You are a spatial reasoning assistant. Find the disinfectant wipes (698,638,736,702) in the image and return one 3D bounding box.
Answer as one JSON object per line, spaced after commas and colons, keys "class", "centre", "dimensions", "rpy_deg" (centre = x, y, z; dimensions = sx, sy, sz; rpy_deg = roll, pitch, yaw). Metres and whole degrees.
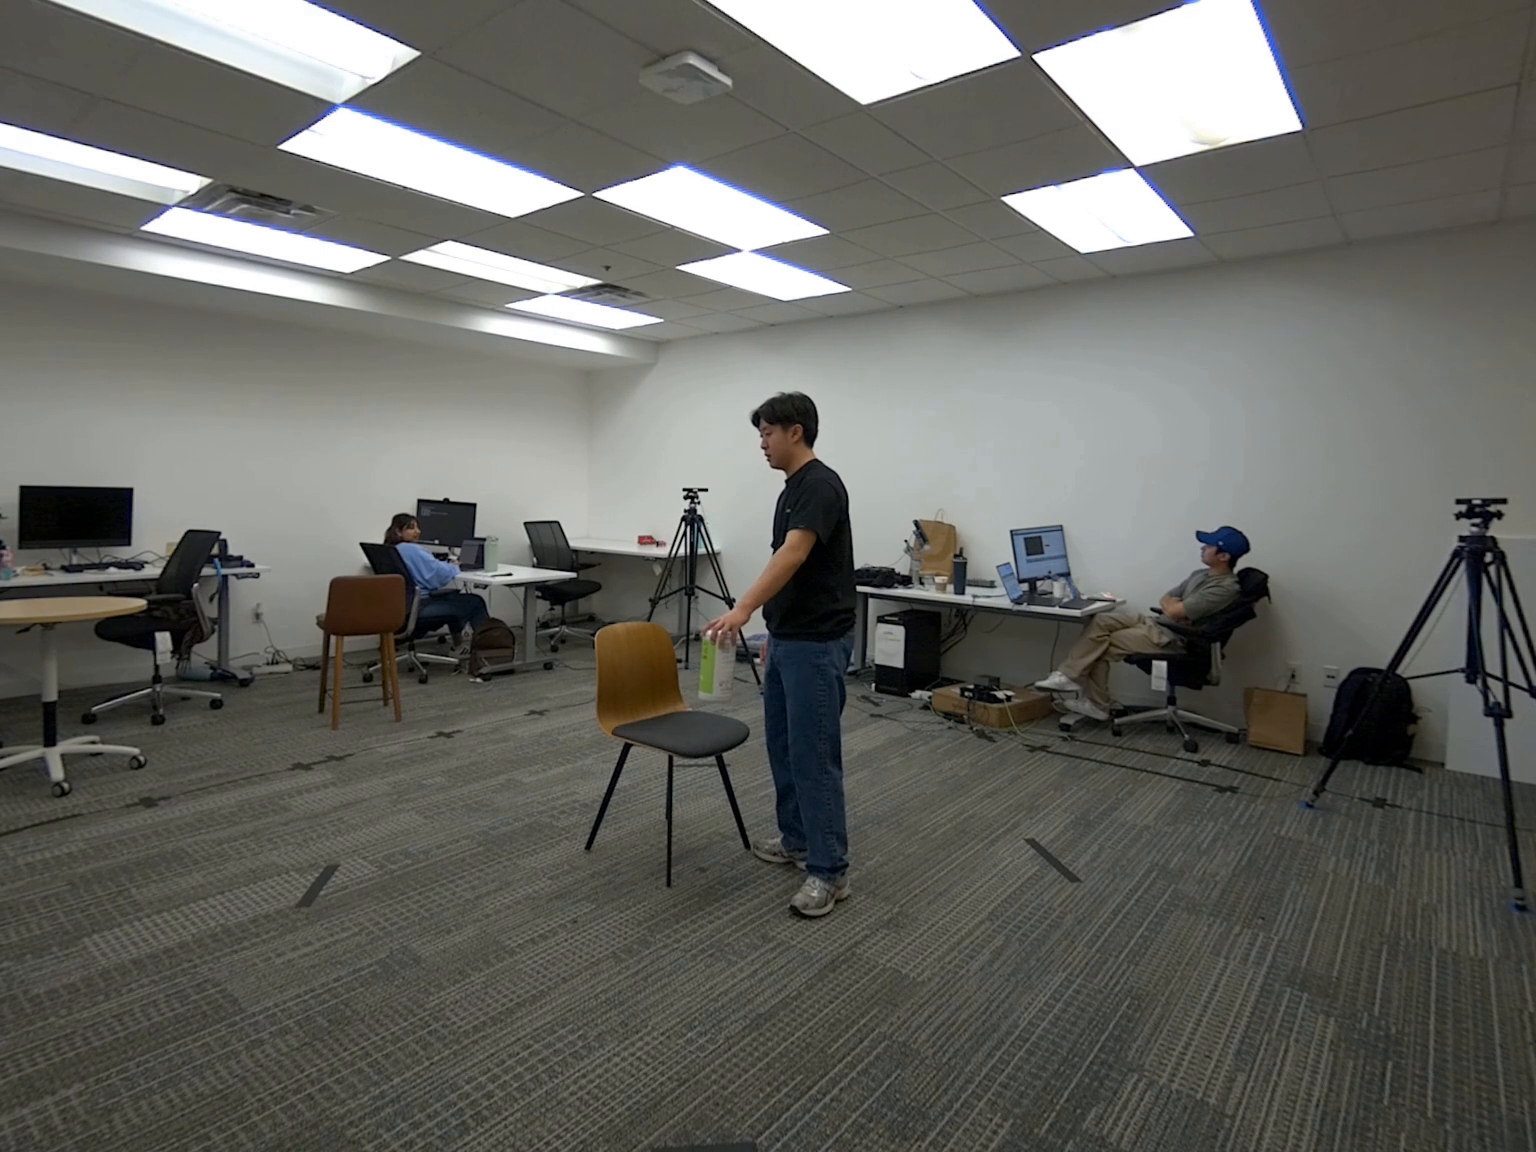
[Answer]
{"class": "disinfectant wipes", "centre": [-0.168, 0.280, 2.686], "dimensions": [0.118, 0.218, 0.118], "rpy_deg": [5, -1, -2]}
